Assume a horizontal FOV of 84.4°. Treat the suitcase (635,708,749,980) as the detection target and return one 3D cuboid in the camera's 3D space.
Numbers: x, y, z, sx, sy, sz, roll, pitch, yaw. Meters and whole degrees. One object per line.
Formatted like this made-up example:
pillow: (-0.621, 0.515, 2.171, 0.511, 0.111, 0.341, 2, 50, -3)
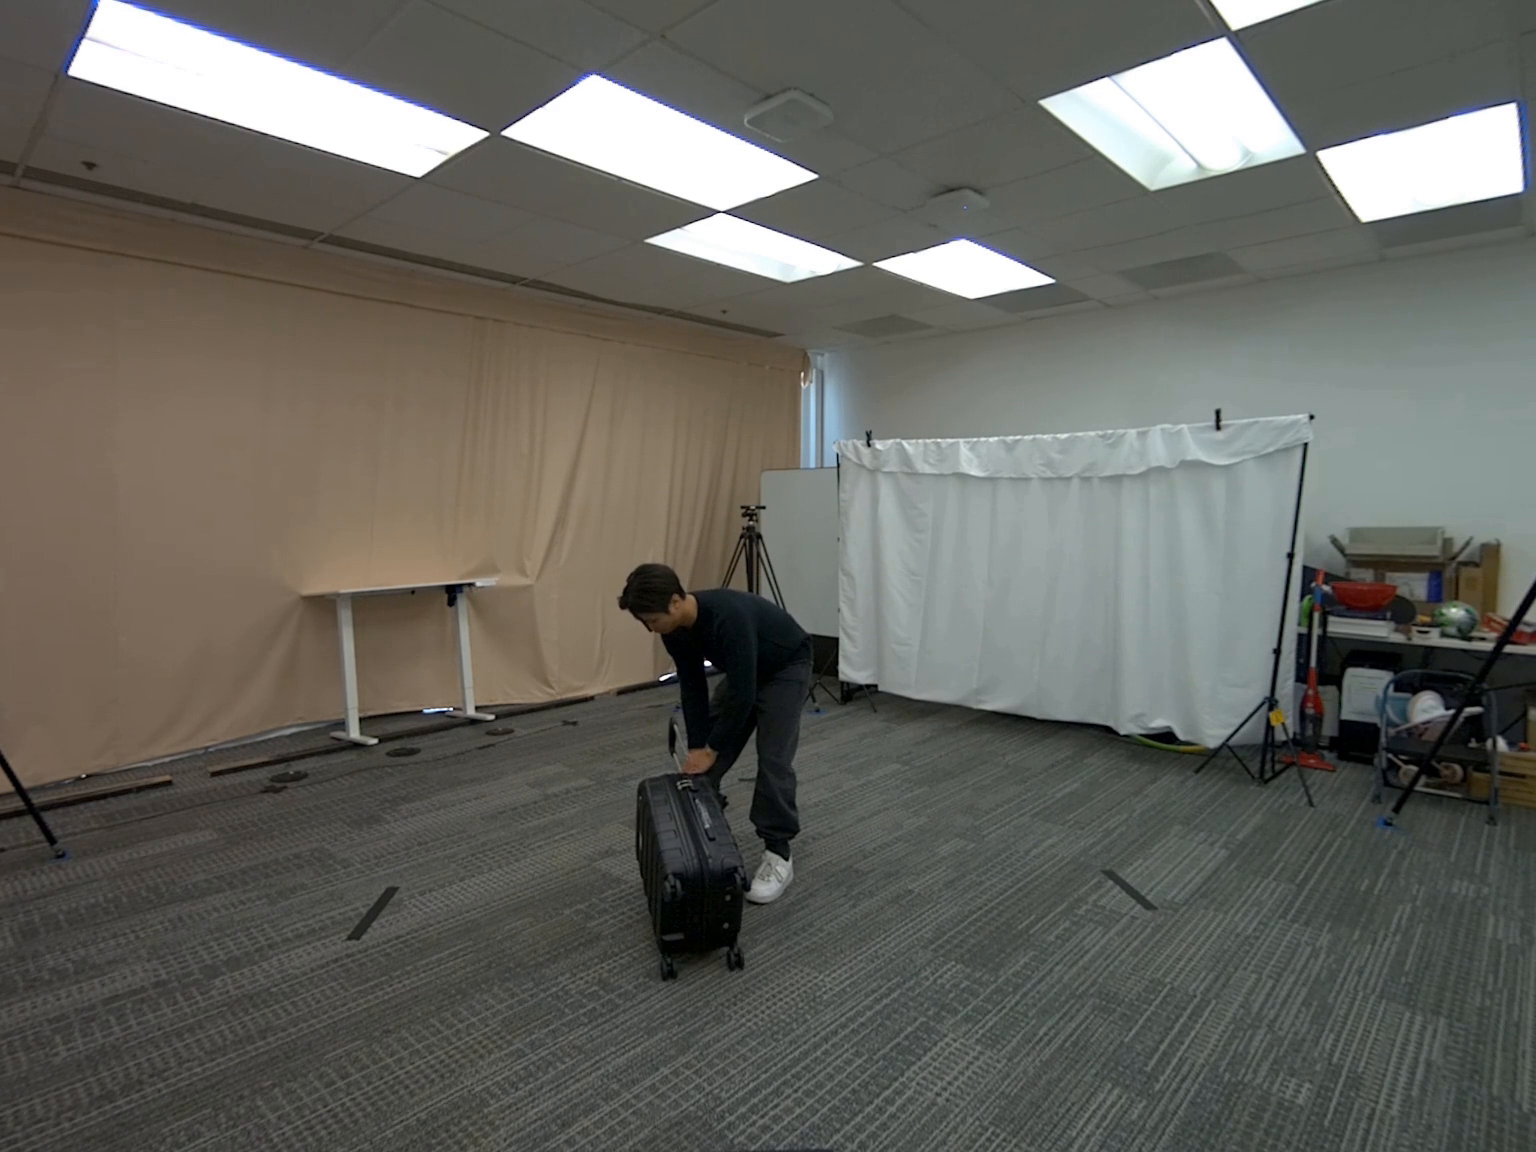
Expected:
suitcase: (-0.326, 0.822, 2.859, 0.252, 0.380, 1.007, -3, 24, -19)
